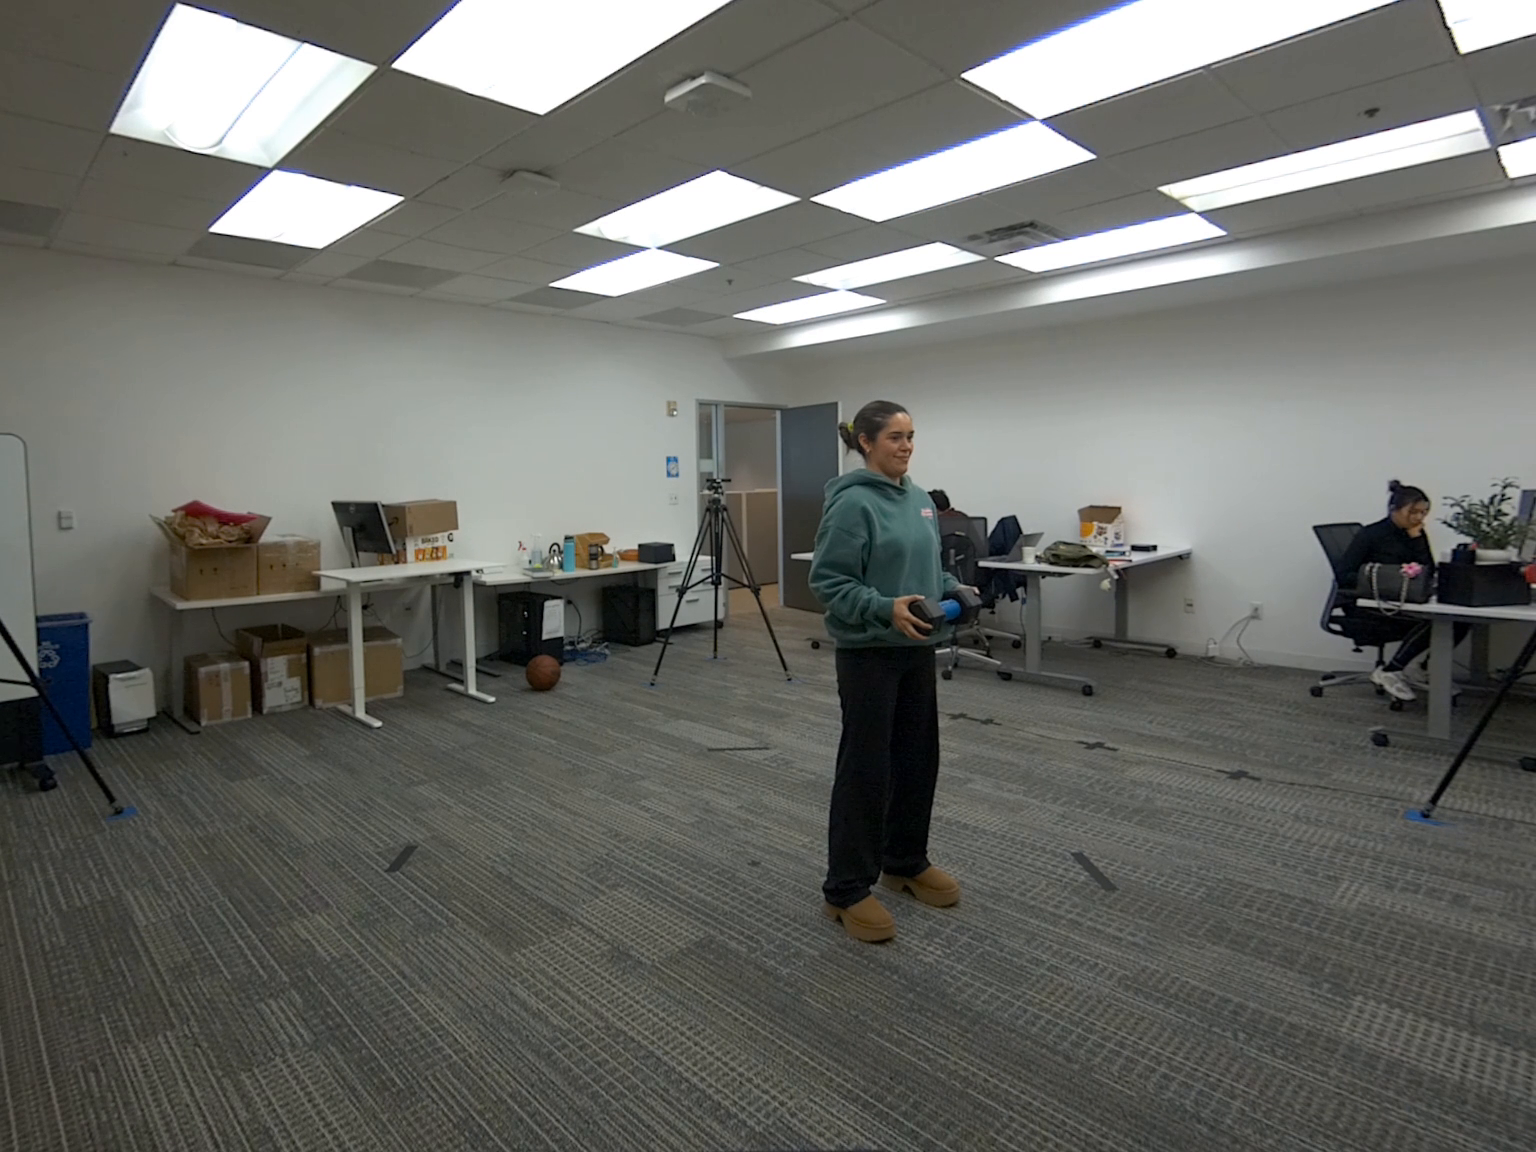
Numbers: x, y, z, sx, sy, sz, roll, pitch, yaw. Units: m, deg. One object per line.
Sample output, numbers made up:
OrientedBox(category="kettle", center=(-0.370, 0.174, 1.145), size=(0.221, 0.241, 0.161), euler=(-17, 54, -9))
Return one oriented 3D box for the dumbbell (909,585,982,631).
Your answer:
OrientedBox(category="dumbbell", center=(0.515, 0.109, 2.590), size=(0.286, 0.126, 0.108), euler=(-9, -30, -46))
